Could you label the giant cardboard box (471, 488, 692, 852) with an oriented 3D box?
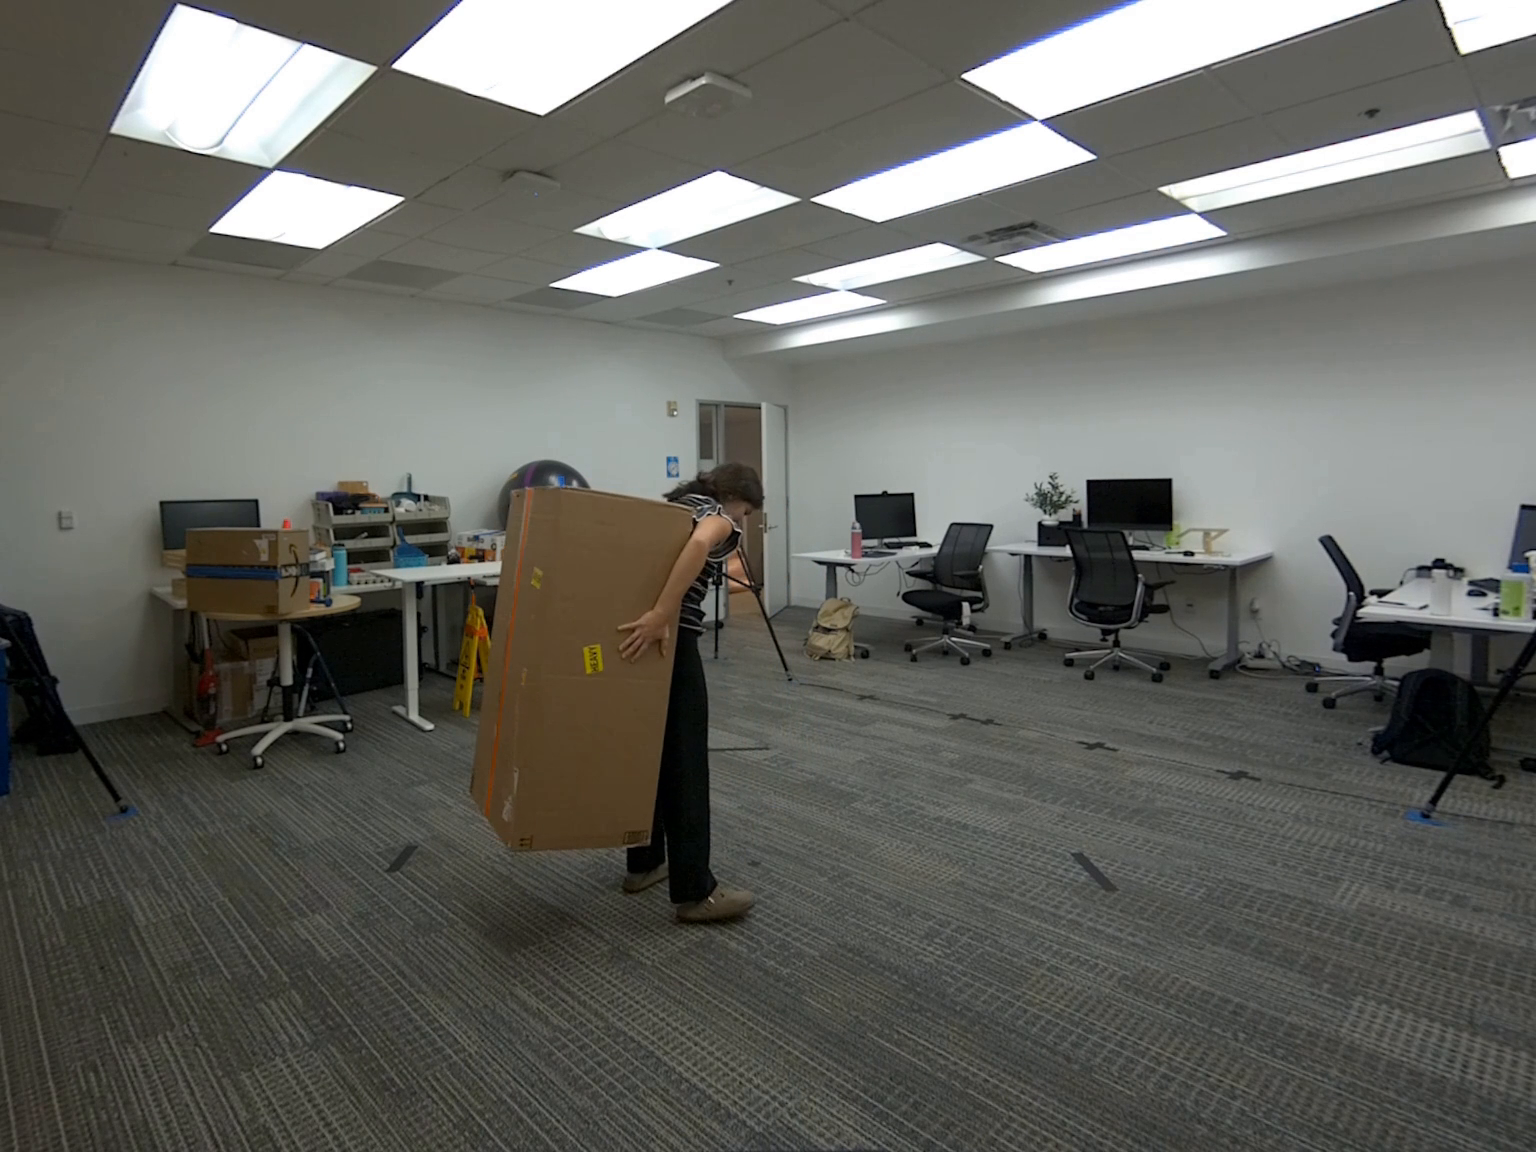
[{"bbox_3d":[-0.613,0.263,2.702,0.414,1.028,0.593,8,-2,-30],"label":"giant cardboard box"}]
